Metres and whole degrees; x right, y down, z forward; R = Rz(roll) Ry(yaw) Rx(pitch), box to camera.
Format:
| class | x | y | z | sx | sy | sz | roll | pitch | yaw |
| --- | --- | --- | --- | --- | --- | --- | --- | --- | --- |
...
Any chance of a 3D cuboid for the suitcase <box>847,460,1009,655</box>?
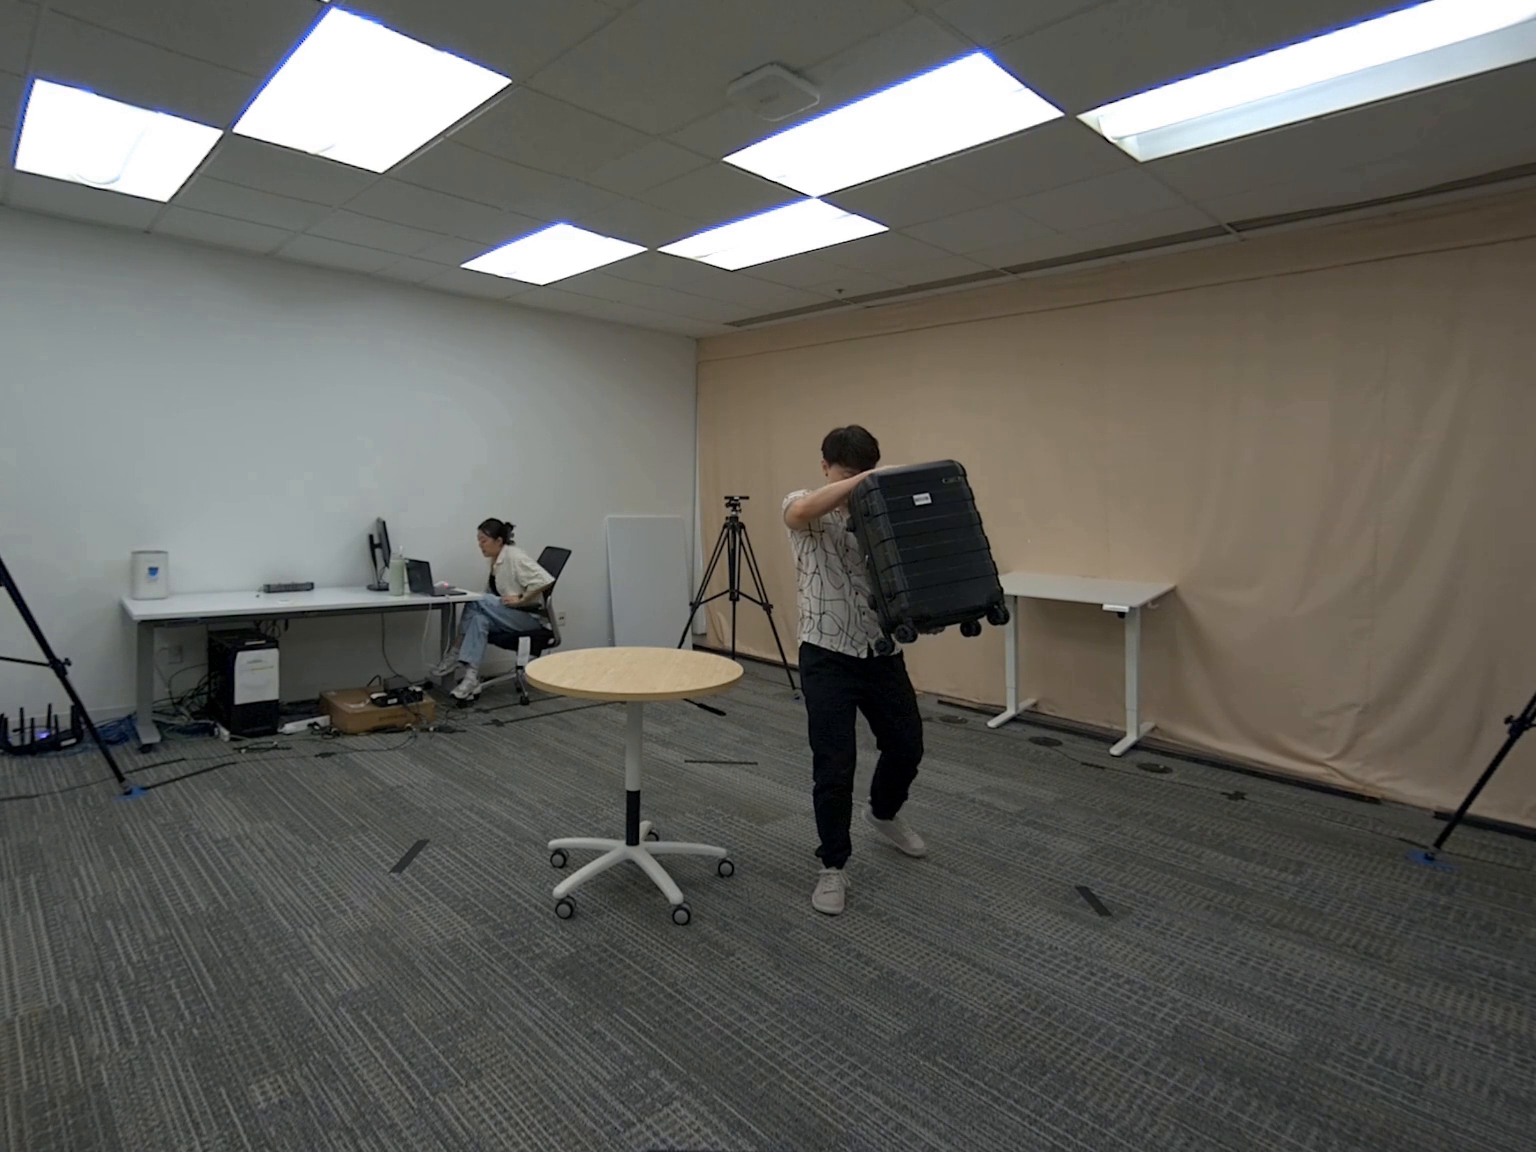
| class | x | y | z | sx | sy | sz | roll | pitch | yaw |
| --- | --- | --- | --- | --- | --- | --- | --- | --- | --- |
| suitcase | 0.479 | -0.075 | 2.616 | 0.372 | 0.557 | 0.247 | -9 | -15 | -12 |
